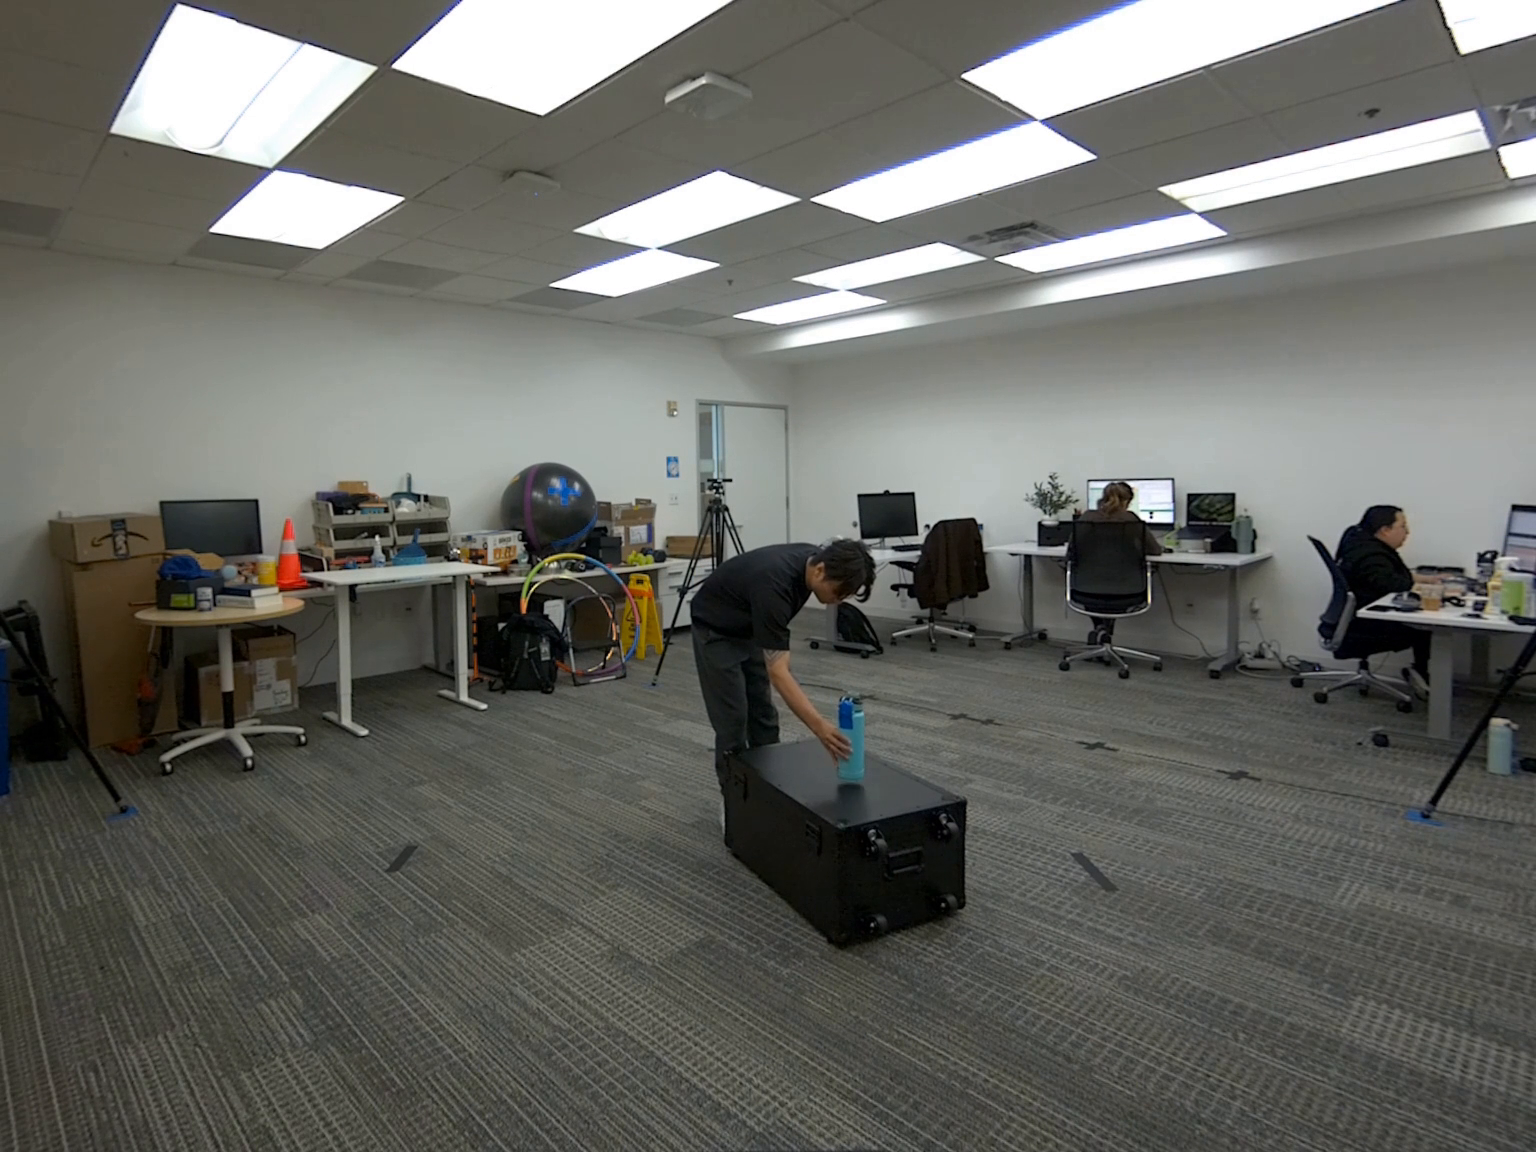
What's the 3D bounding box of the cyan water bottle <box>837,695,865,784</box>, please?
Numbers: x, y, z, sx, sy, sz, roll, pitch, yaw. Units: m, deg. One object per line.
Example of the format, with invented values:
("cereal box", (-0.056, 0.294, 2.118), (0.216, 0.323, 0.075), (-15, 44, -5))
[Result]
("cyan water bottle", (0.277, 0.532, 2.844), (0.092, 0.282, 0.093), (0, 5, -2))
